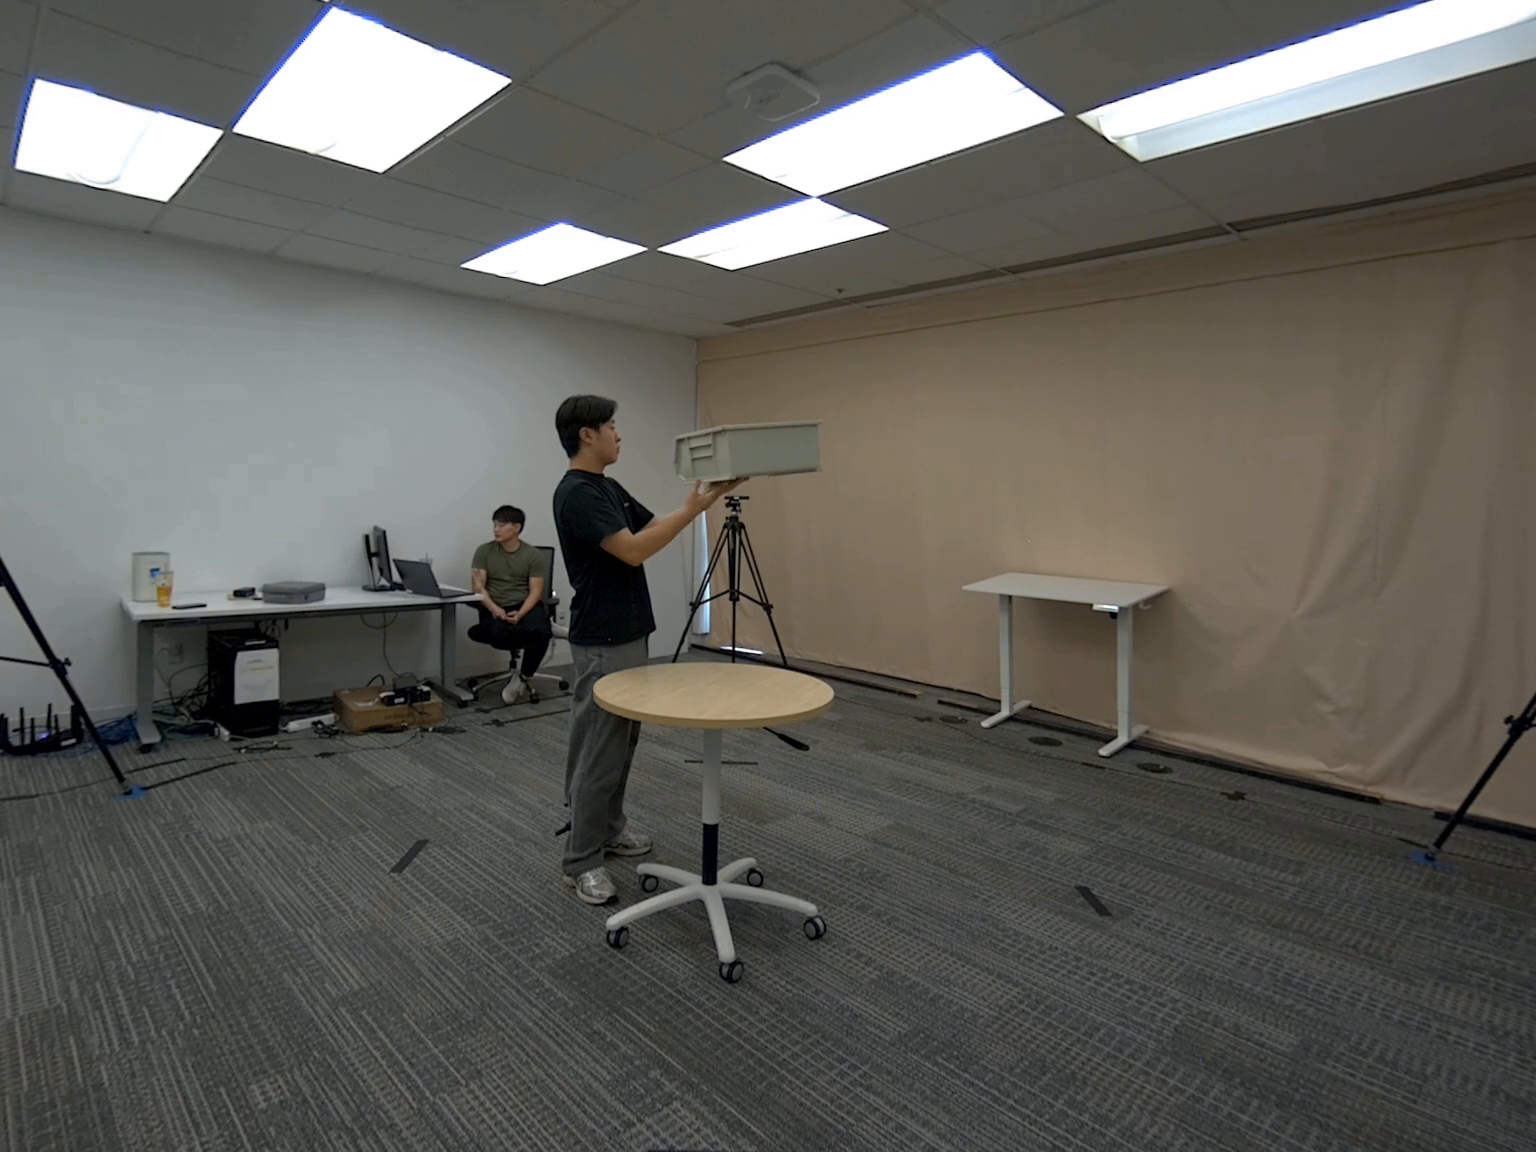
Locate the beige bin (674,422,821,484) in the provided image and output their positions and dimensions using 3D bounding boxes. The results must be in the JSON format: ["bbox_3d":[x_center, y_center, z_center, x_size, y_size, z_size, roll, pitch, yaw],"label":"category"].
[{"bbox_3d":[-0.082,-0.440,3.057,0.414,0.188,0.386,-9,7,-32],"label":"beige bin"}]
